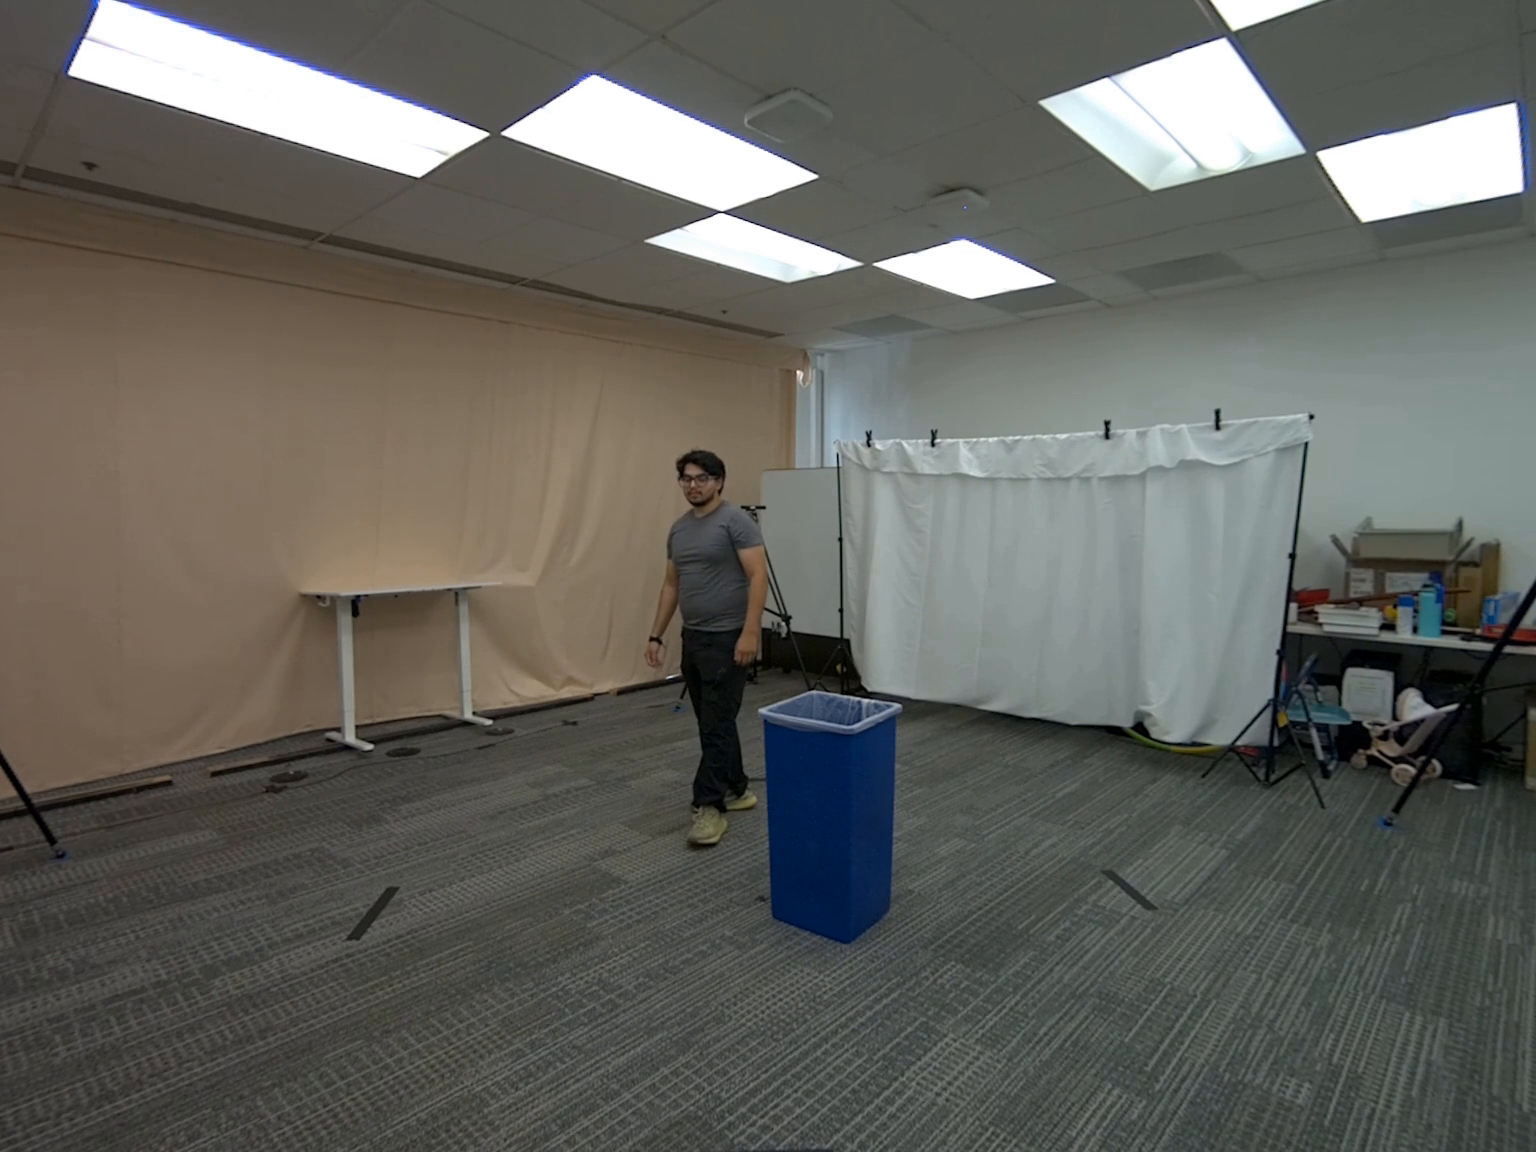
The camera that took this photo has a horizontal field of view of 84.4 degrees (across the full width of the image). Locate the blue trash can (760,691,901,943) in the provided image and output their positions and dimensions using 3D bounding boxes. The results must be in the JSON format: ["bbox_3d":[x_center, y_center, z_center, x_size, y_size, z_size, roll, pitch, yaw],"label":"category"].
[{"bbox_3d":[0.216,0.796,2.846,0.390,0.712,0.363,2,4,37],"label":"blue trash can"}]
